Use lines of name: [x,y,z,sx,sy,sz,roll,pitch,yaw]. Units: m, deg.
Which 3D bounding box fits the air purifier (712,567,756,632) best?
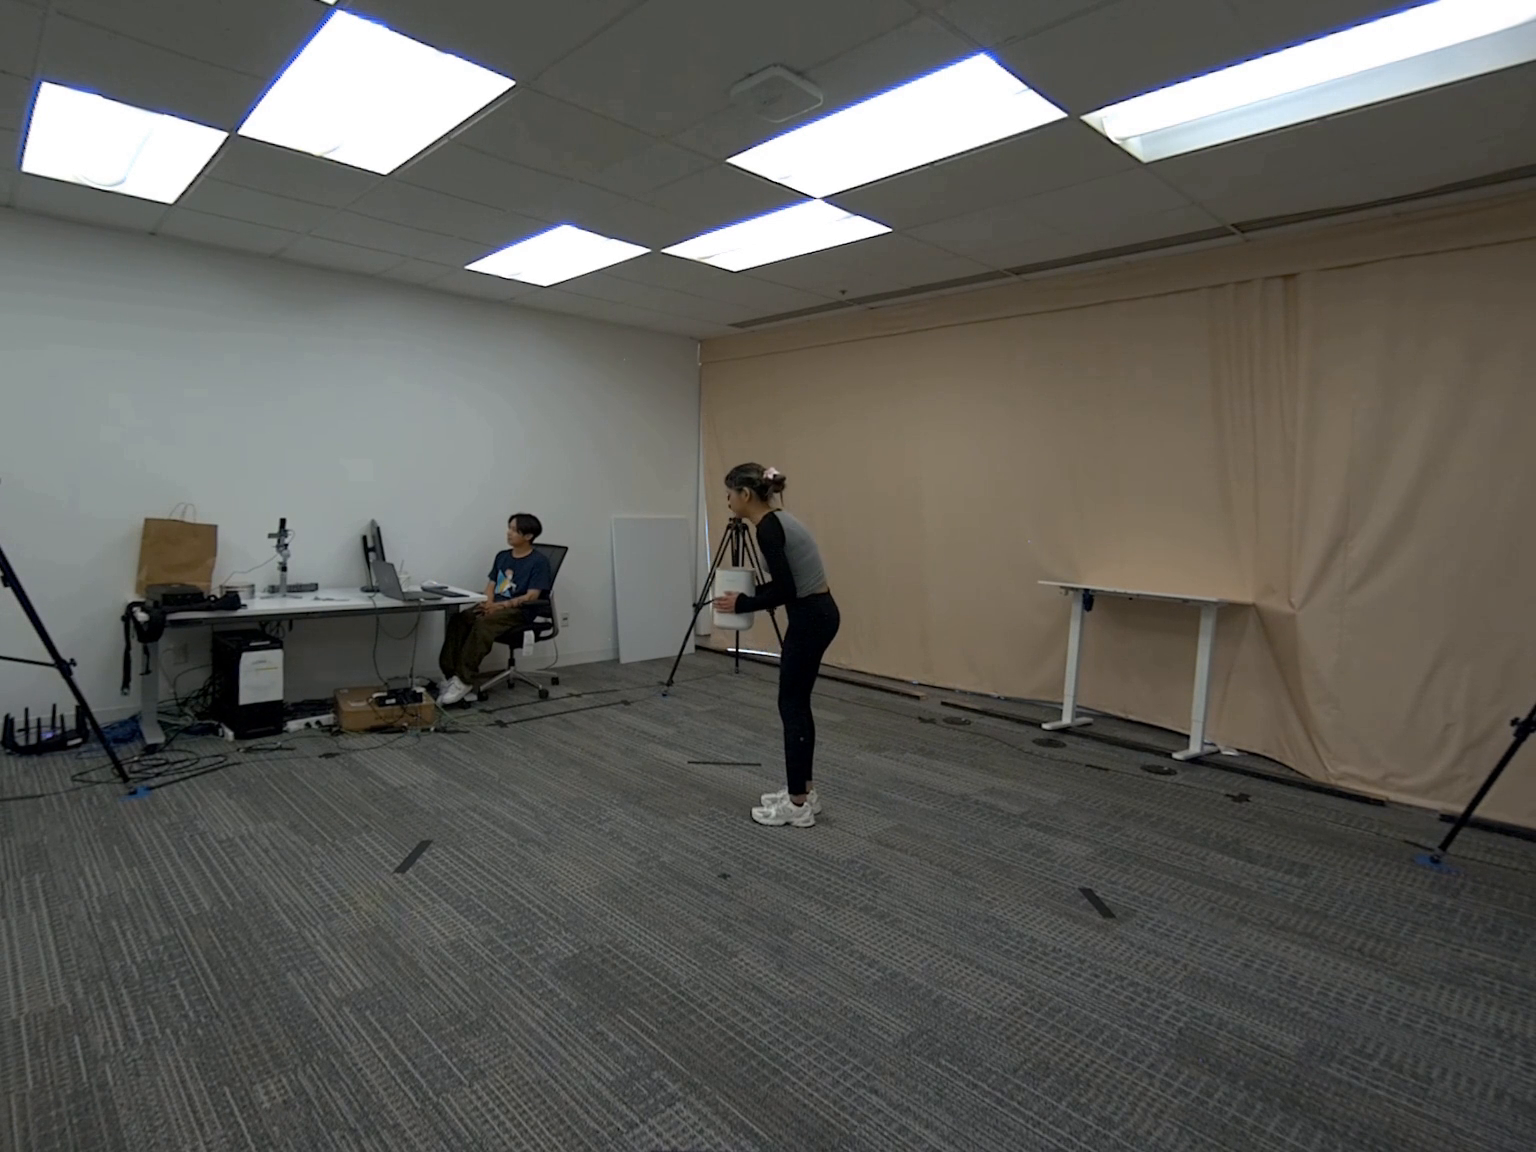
air purifier: [-0.148,0.102,3.724,0.172,0.264,0.171,2,6,7]
